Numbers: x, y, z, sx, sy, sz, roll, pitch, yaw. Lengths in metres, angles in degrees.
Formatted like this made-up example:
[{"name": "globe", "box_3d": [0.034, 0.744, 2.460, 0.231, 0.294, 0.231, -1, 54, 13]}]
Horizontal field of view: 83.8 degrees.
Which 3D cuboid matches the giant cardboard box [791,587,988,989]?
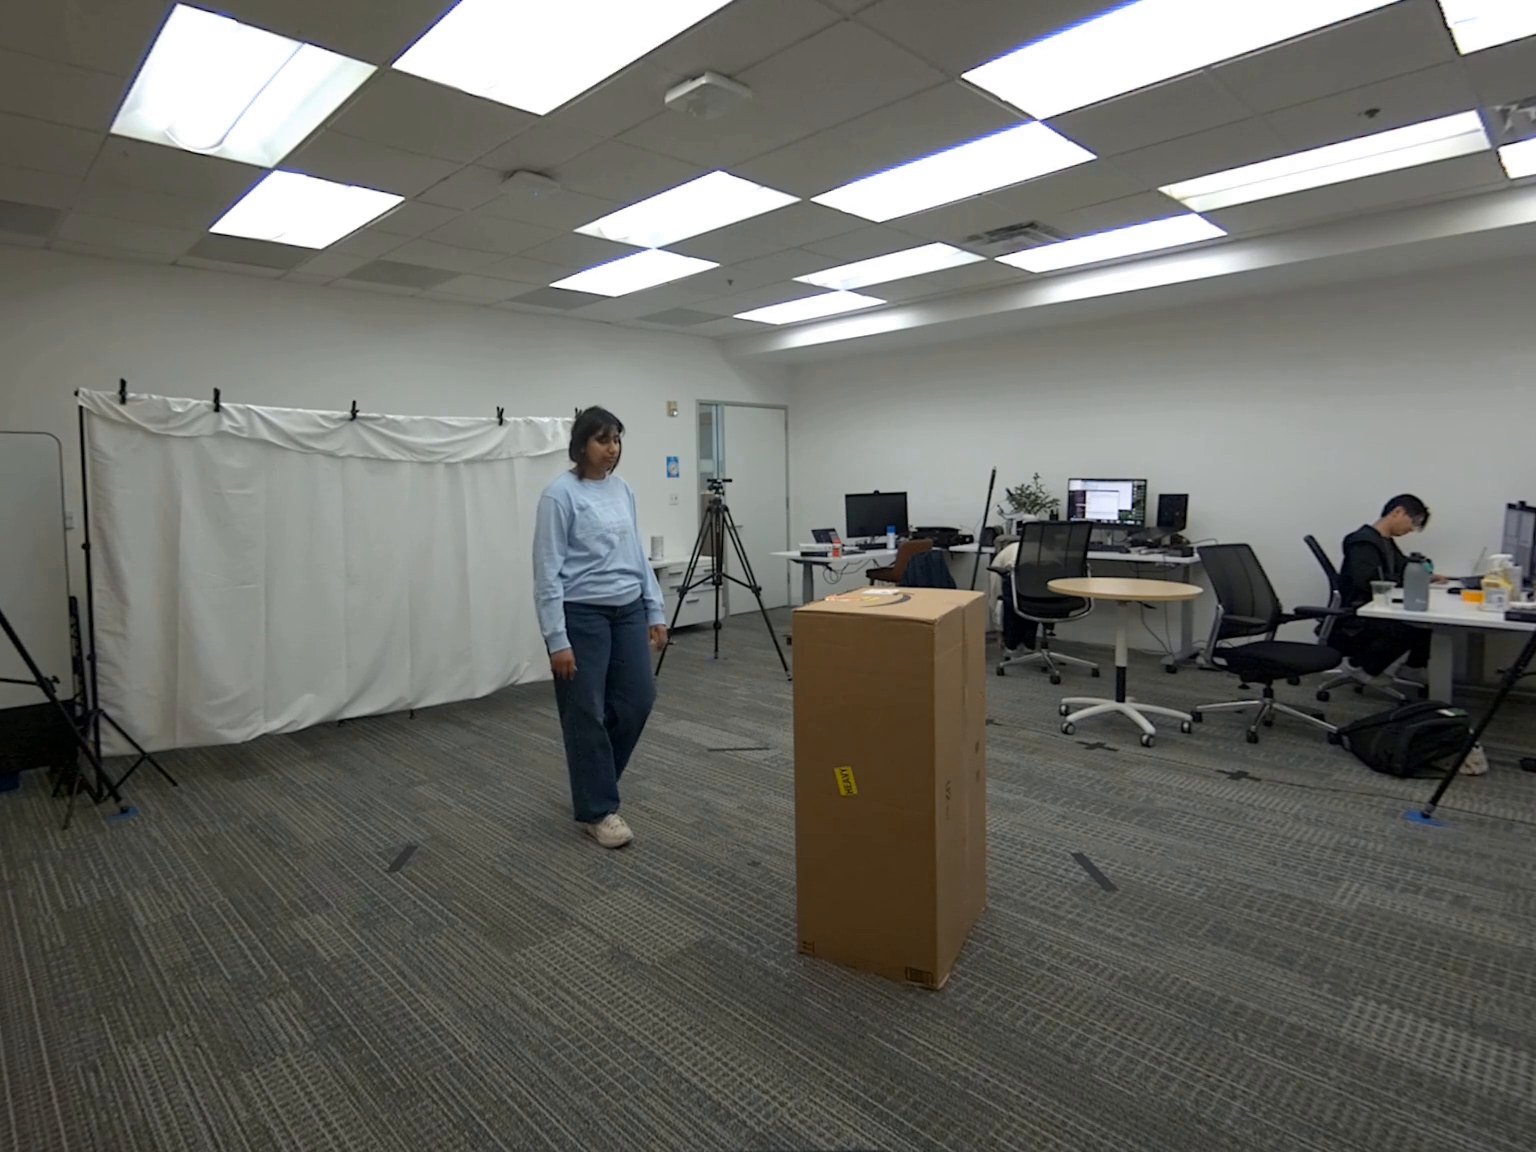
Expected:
[{"name": "giant cardboard box", "box_3d": [0.395, 0.581, 2.628, 0.458, 1.023, 0.571, 1, 5, 30]}]
